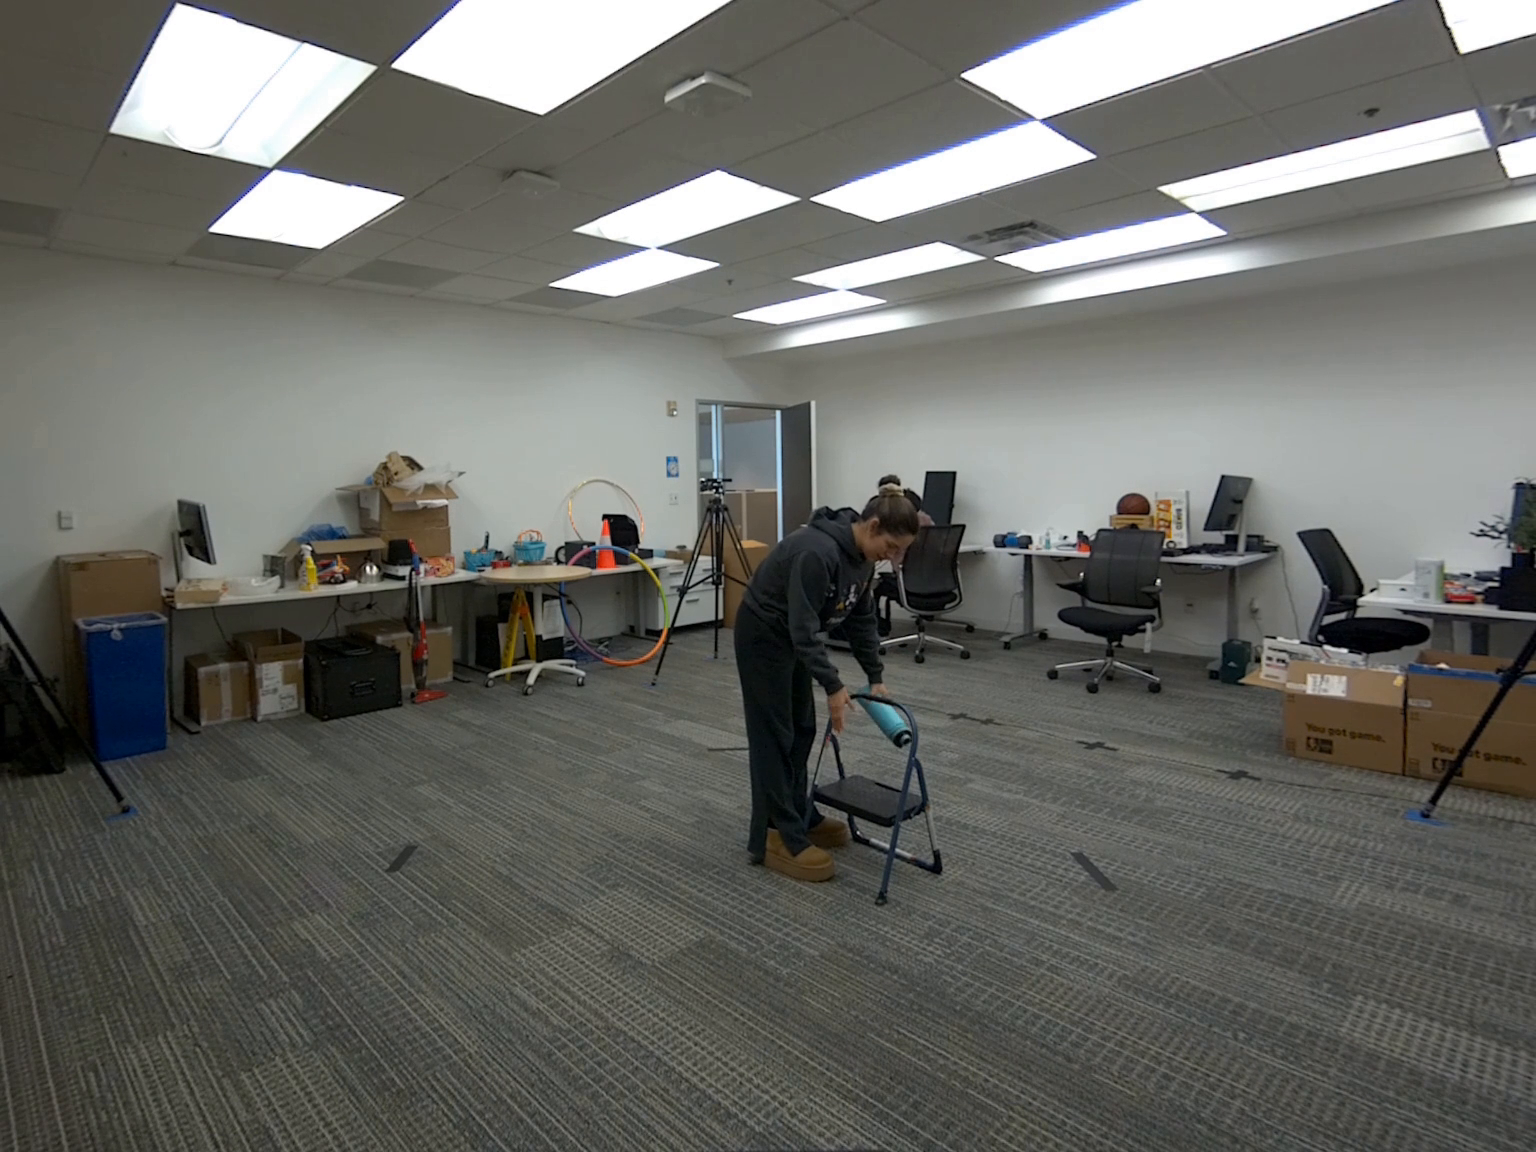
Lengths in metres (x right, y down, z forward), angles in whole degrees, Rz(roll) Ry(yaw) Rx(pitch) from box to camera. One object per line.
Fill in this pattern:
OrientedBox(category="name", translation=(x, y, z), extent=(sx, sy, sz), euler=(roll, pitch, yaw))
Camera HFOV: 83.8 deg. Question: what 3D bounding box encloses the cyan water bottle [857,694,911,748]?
OrientedBox(category="cyan water bottle", translation=(0.446, 0.526, 3.224), extent=(0.090, 0.091, 0.295), euler=(-4, 35, -31))
